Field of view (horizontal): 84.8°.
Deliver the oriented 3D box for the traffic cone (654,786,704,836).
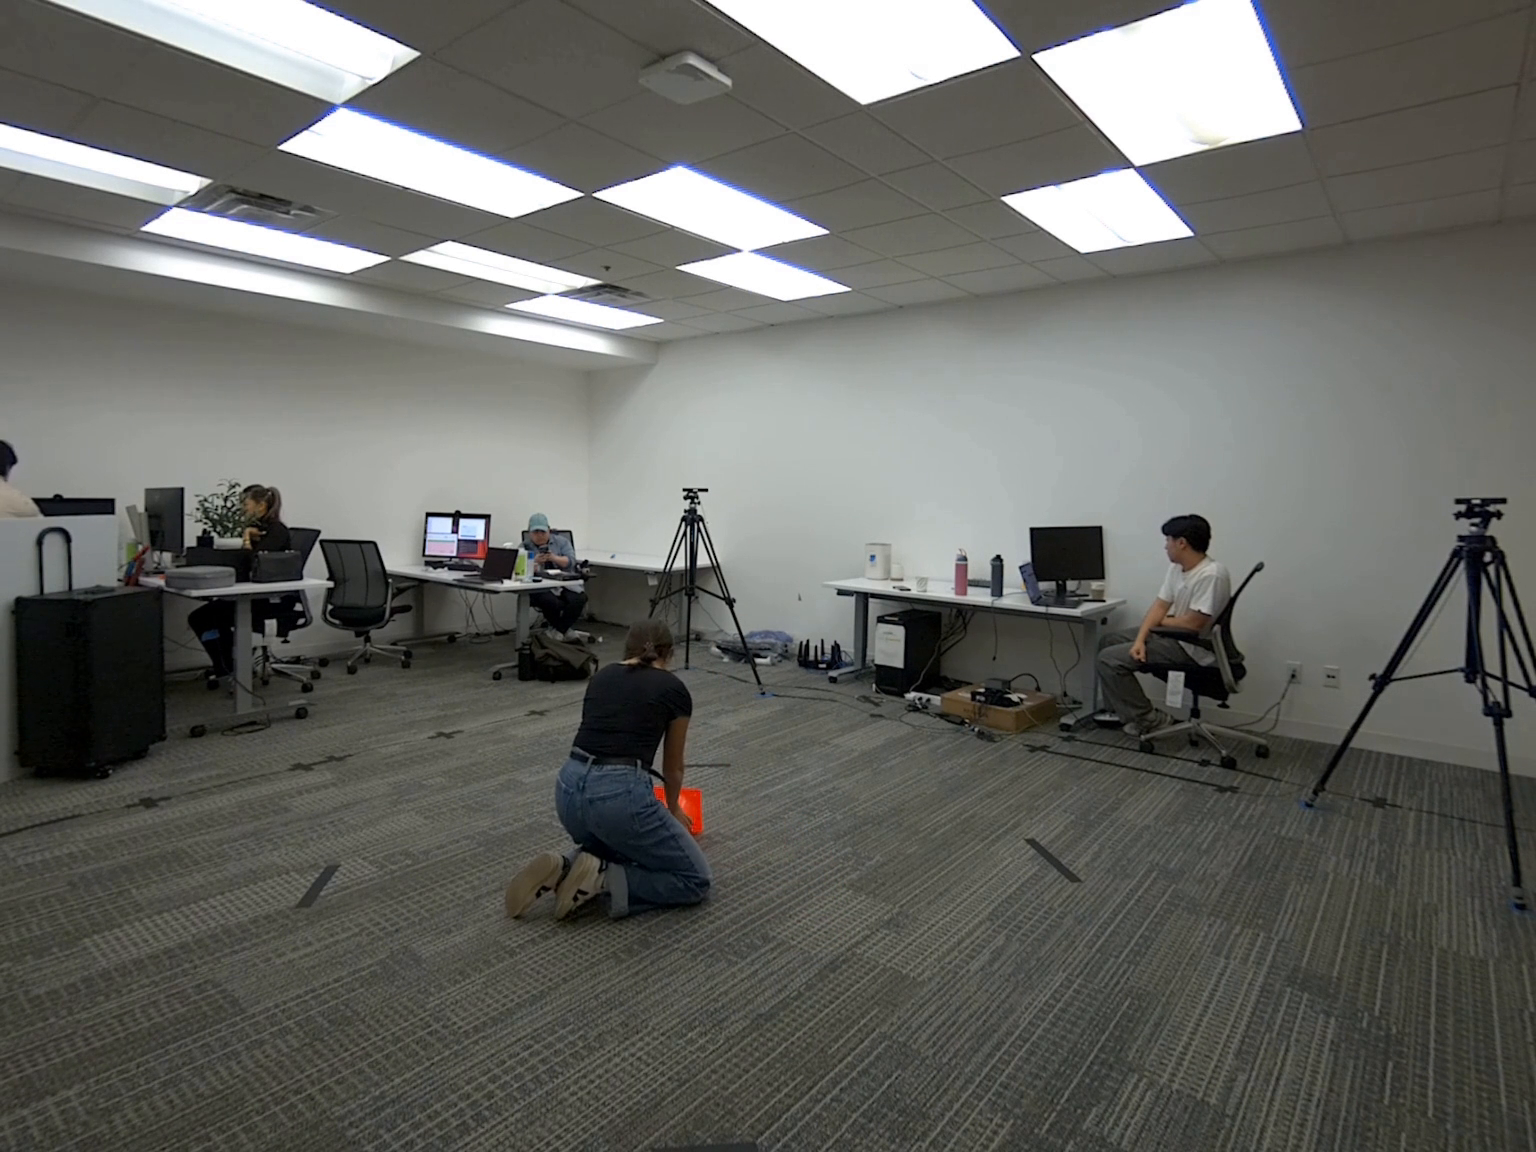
[{"bbox_3d":[-0.387,0.985,3.256,0.207,0.200,0.385,0,15,8],"label":"traffic cone"}]
